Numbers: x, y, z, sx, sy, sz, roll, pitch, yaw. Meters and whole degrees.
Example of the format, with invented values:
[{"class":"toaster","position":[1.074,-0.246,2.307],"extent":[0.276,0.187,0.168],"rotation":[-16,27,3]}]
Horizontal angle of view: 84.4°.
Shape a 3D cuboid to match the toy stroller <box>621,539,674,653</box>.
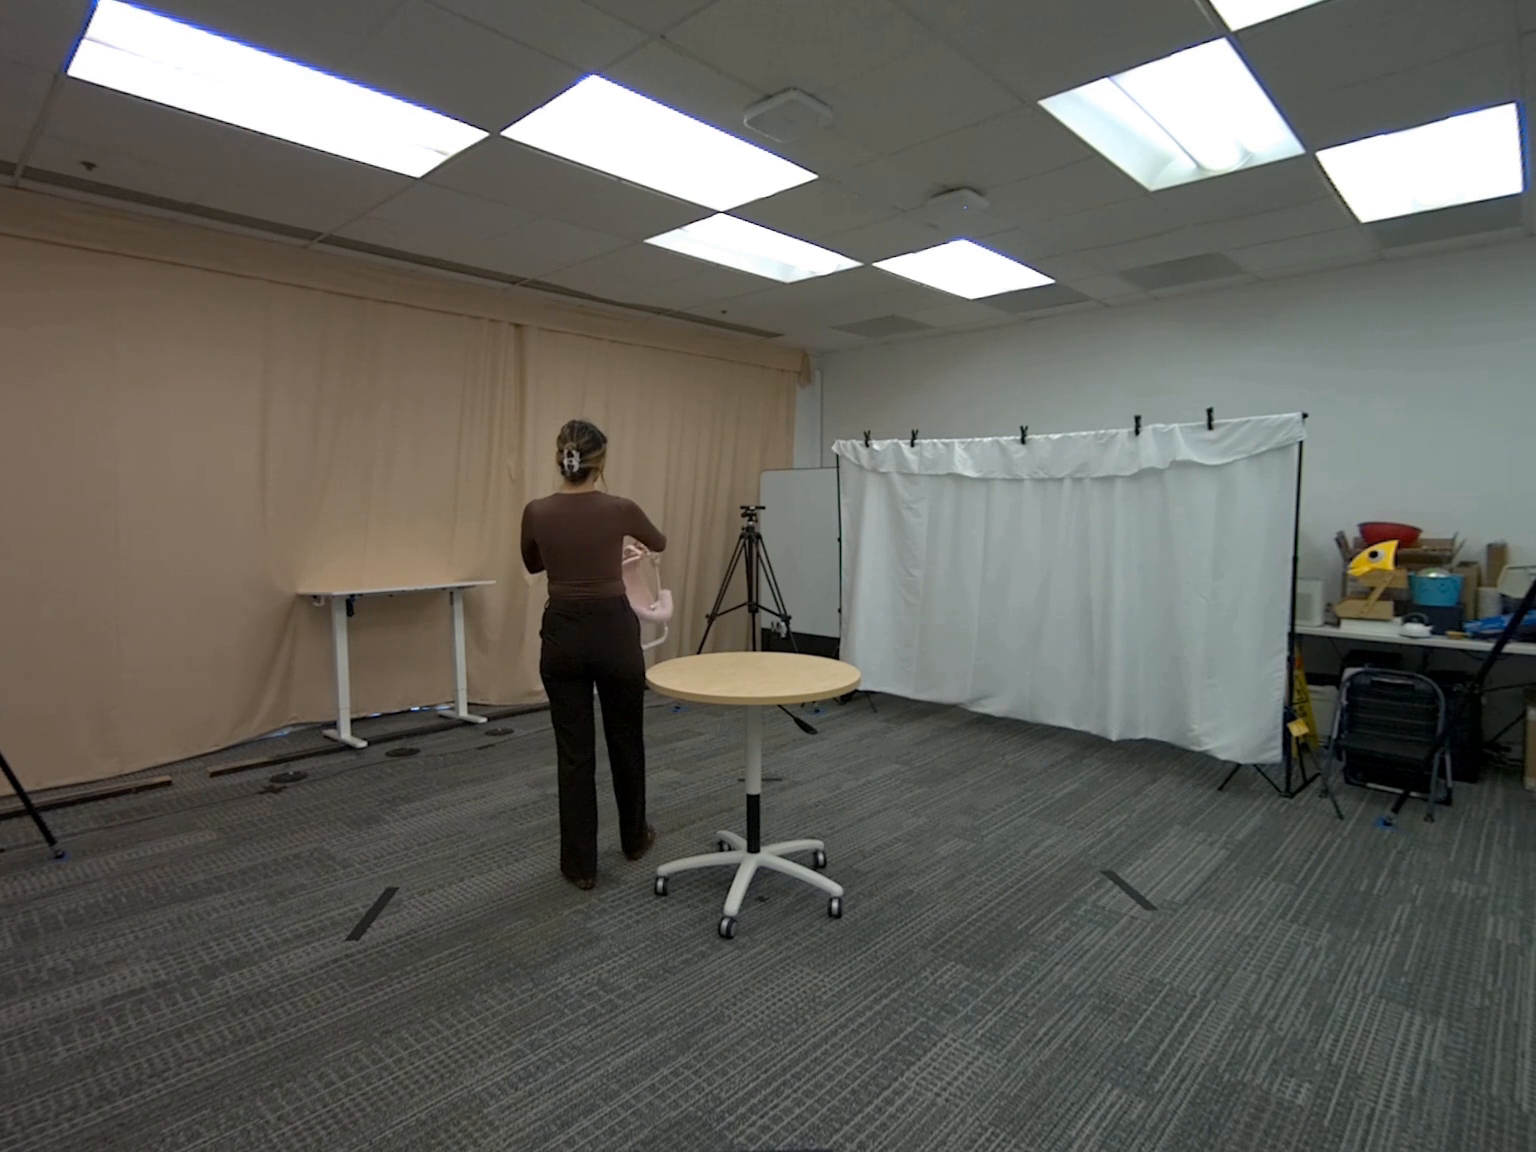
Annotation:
[{"class":"toy stroller","position":[-0.573,0.010,3.582],"extent":[0.274,0.547,0.343],"rotation":[-15,-26,-41]}]
